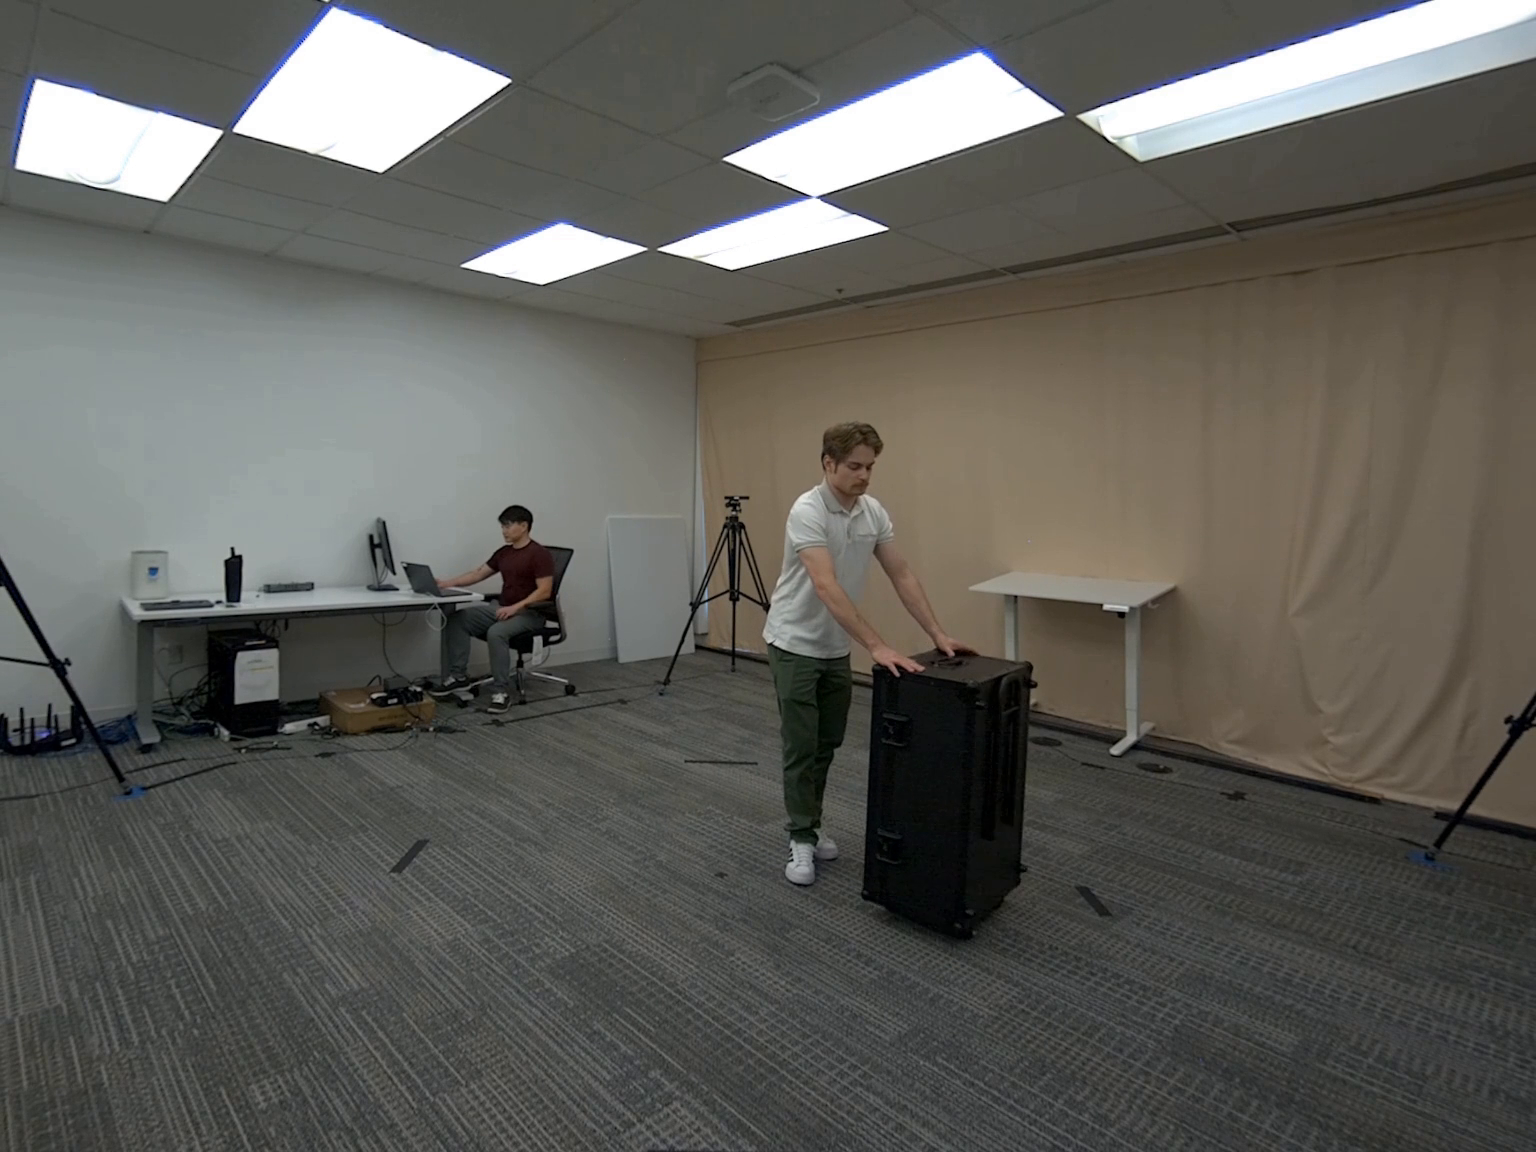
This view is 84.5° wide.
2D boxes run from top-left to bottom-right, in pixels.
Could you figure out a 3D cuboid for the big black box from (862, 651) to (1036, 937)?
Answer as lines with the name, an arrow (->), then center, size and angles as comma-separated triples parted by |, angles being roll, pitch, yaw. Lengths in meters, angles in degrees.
big black box -> 0.617, 0.724, 2.847 | 0.395, 0.866, 0.512 | 5, 5, 37
